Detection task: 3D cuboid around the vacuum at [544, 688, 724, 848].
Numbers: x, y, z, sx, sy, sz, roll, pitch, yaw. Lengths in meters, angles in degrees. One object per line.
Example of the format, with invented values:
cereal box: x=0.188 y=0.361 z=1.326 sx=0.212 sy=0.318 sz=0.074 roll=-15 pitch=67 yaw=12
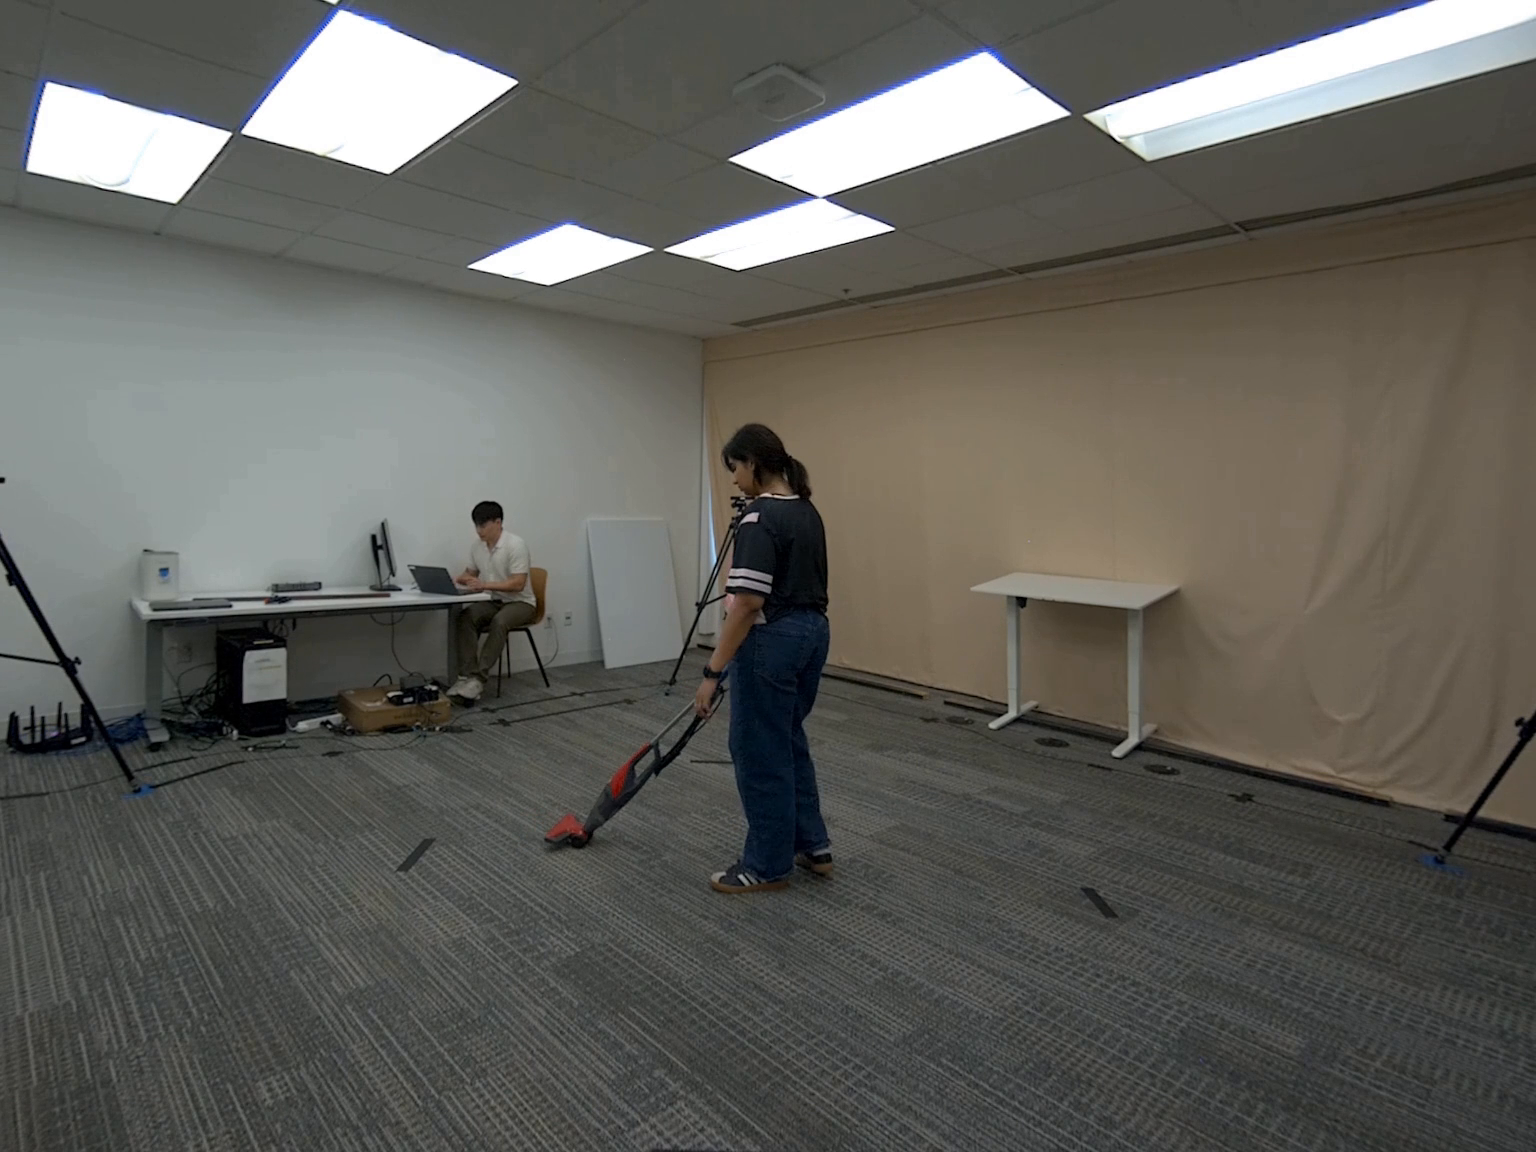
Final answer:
vacuum: x=-0.429 y=0.682 z=3.287 sx=1.050 sy=0.144 sz=0.252 roll=-44 pitch=0 yaw=10
